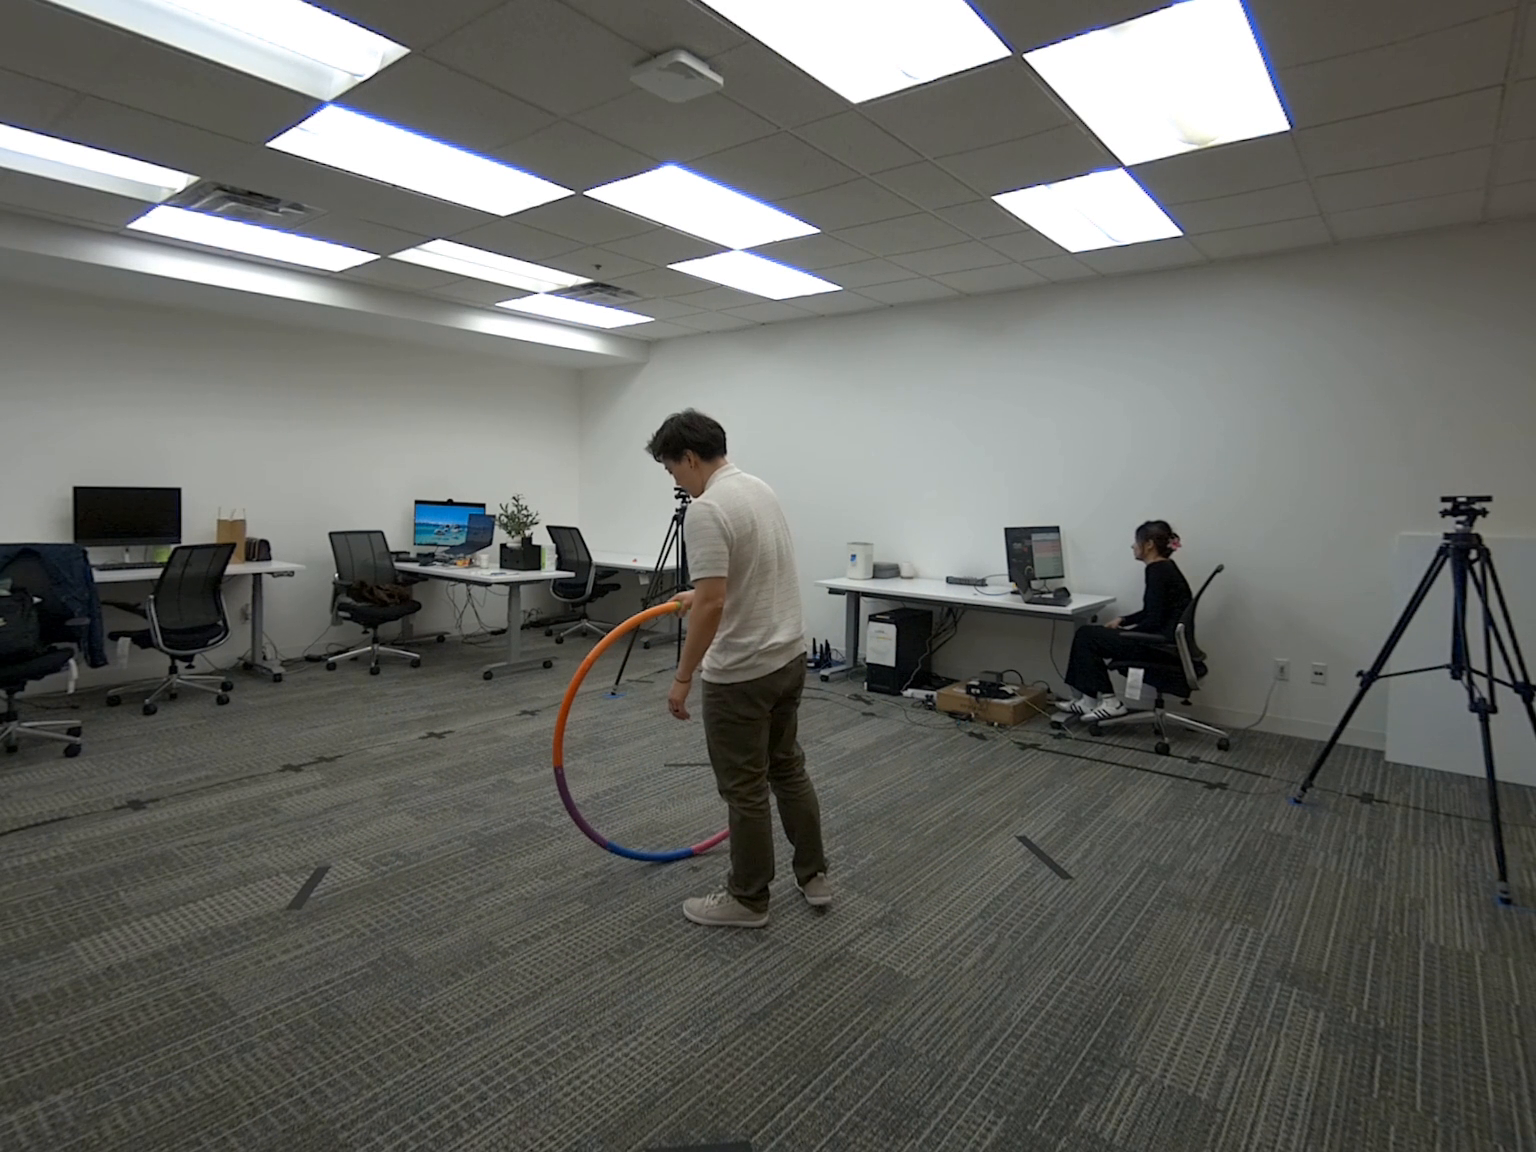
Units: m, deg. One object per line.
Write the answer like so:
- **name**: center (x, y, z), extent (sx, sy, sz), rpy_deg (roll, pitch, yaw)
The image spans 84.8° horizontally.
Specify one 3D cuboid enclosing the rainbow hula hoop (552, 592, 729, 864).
- **rainbow hula hoop**: center (-0.322, 0.574, 3.139), extent (0.953, 0.973, 0.037), rpy_deg (-1, 7, -29)
